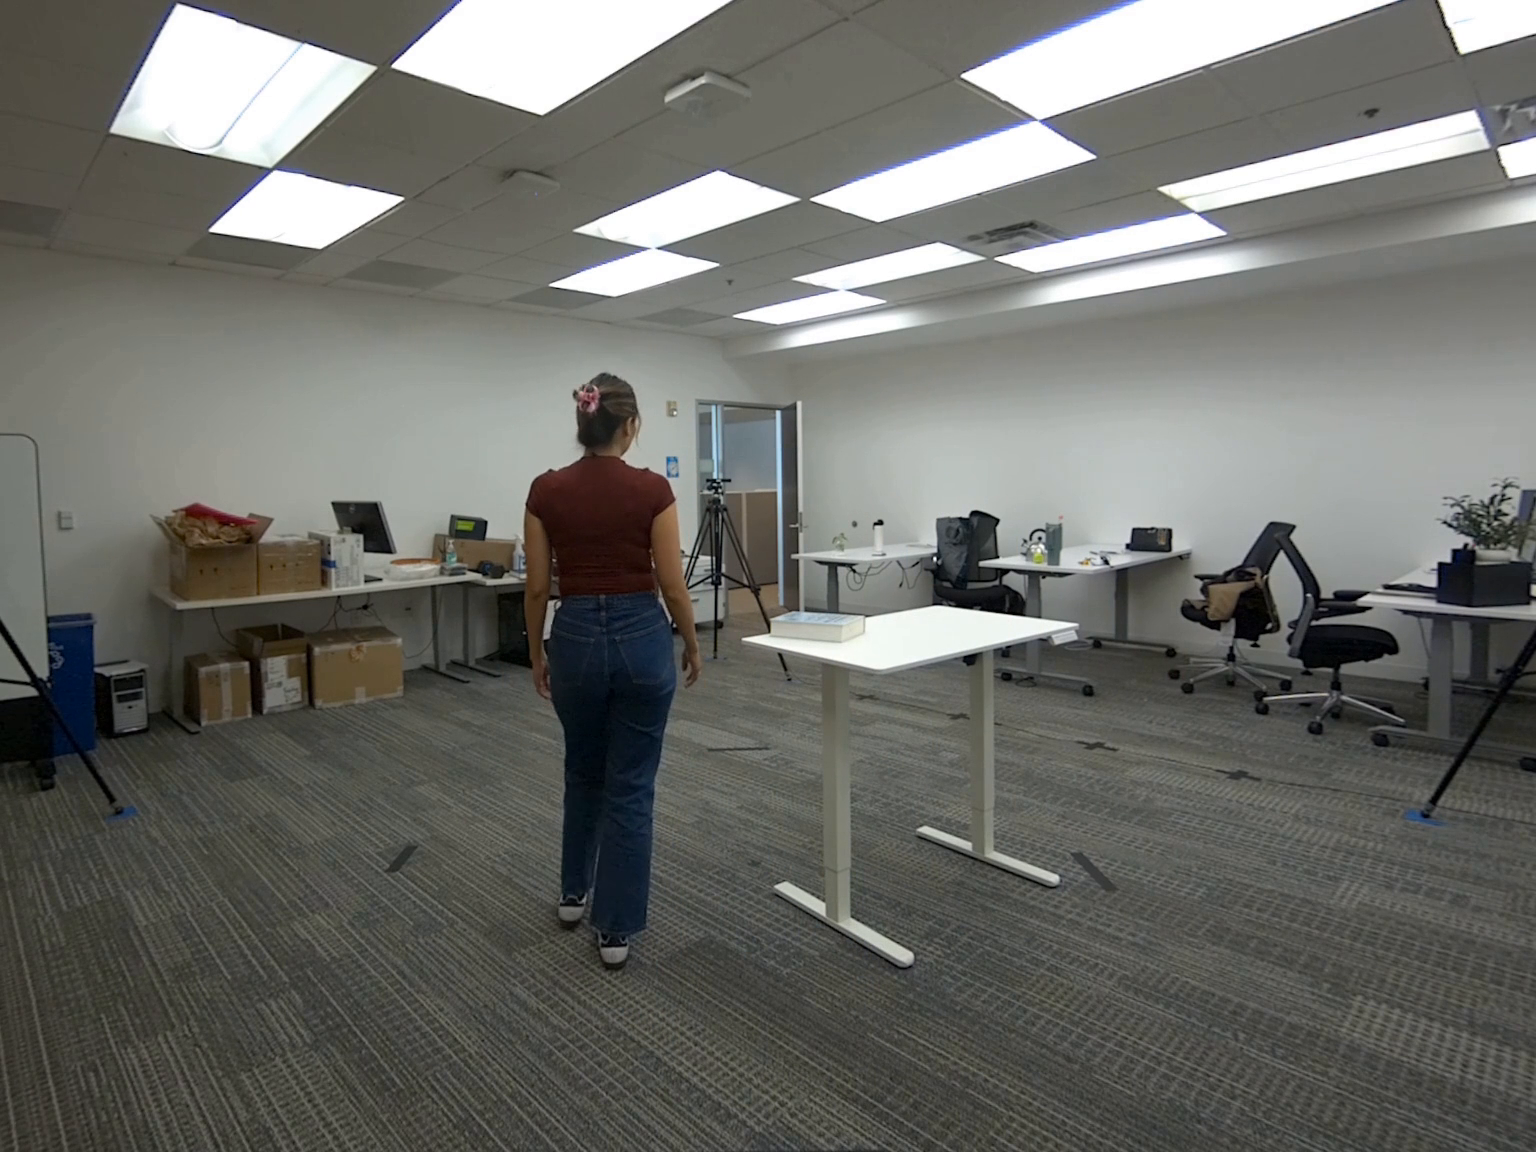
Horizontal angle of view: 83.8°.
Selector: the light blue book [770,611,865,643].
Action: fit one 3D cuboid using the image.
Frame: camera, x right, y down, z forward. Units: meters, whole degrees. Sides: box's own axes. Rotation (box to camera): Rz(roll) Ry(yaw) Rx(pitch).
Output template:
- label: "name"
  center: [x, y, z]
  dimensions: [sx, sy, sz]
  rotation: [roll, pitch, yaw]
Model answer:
- label: "light blue book"
  center: [0.164, 0.163, 2.807]
  dimensions: [0.268, 0.059, 0.187]
  rotation: [3, 7, 31]
